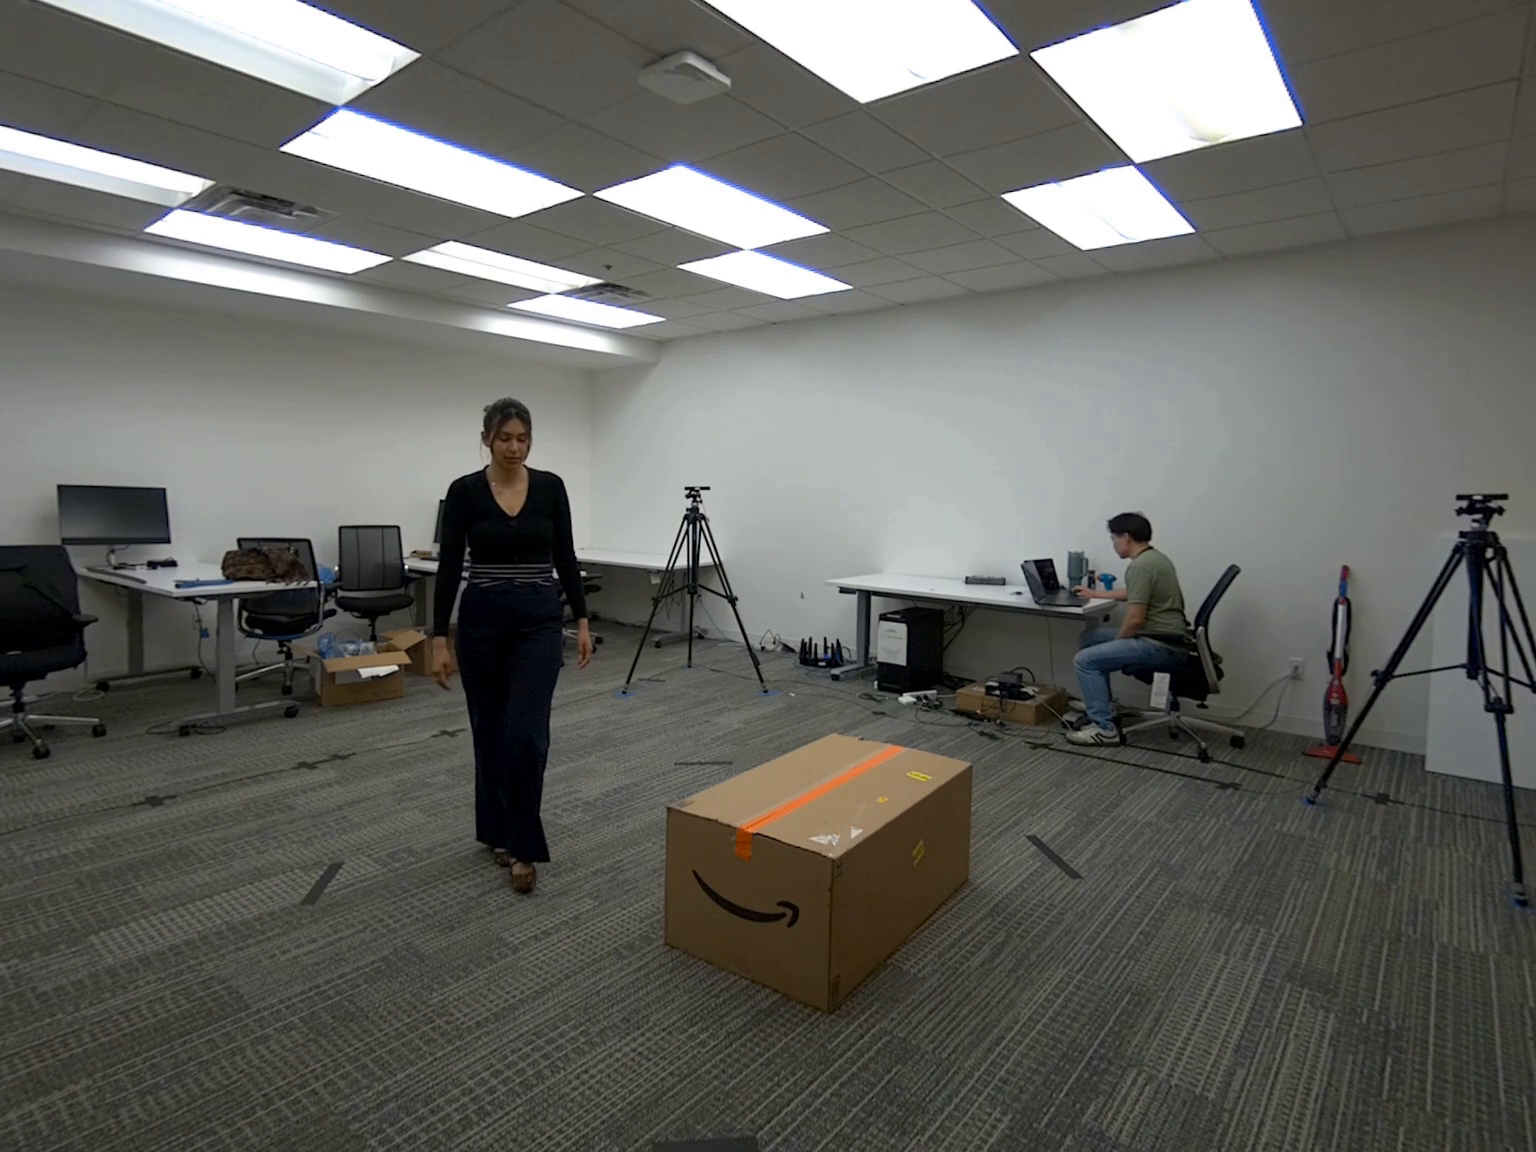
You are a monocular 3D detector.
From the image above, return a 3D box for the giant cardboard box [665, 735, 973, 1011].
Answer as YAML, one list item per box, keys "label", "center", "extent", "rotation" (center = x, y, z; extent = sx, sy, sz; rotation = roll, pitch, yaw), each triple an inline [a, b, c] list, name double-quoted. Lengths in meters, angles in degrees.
- label: "giant cardboard box"
  center: [0.201, 0.888, 2.810]
  extent: [0.596, 0.424, 0.997]
  rotation: [5, 7, 35]
